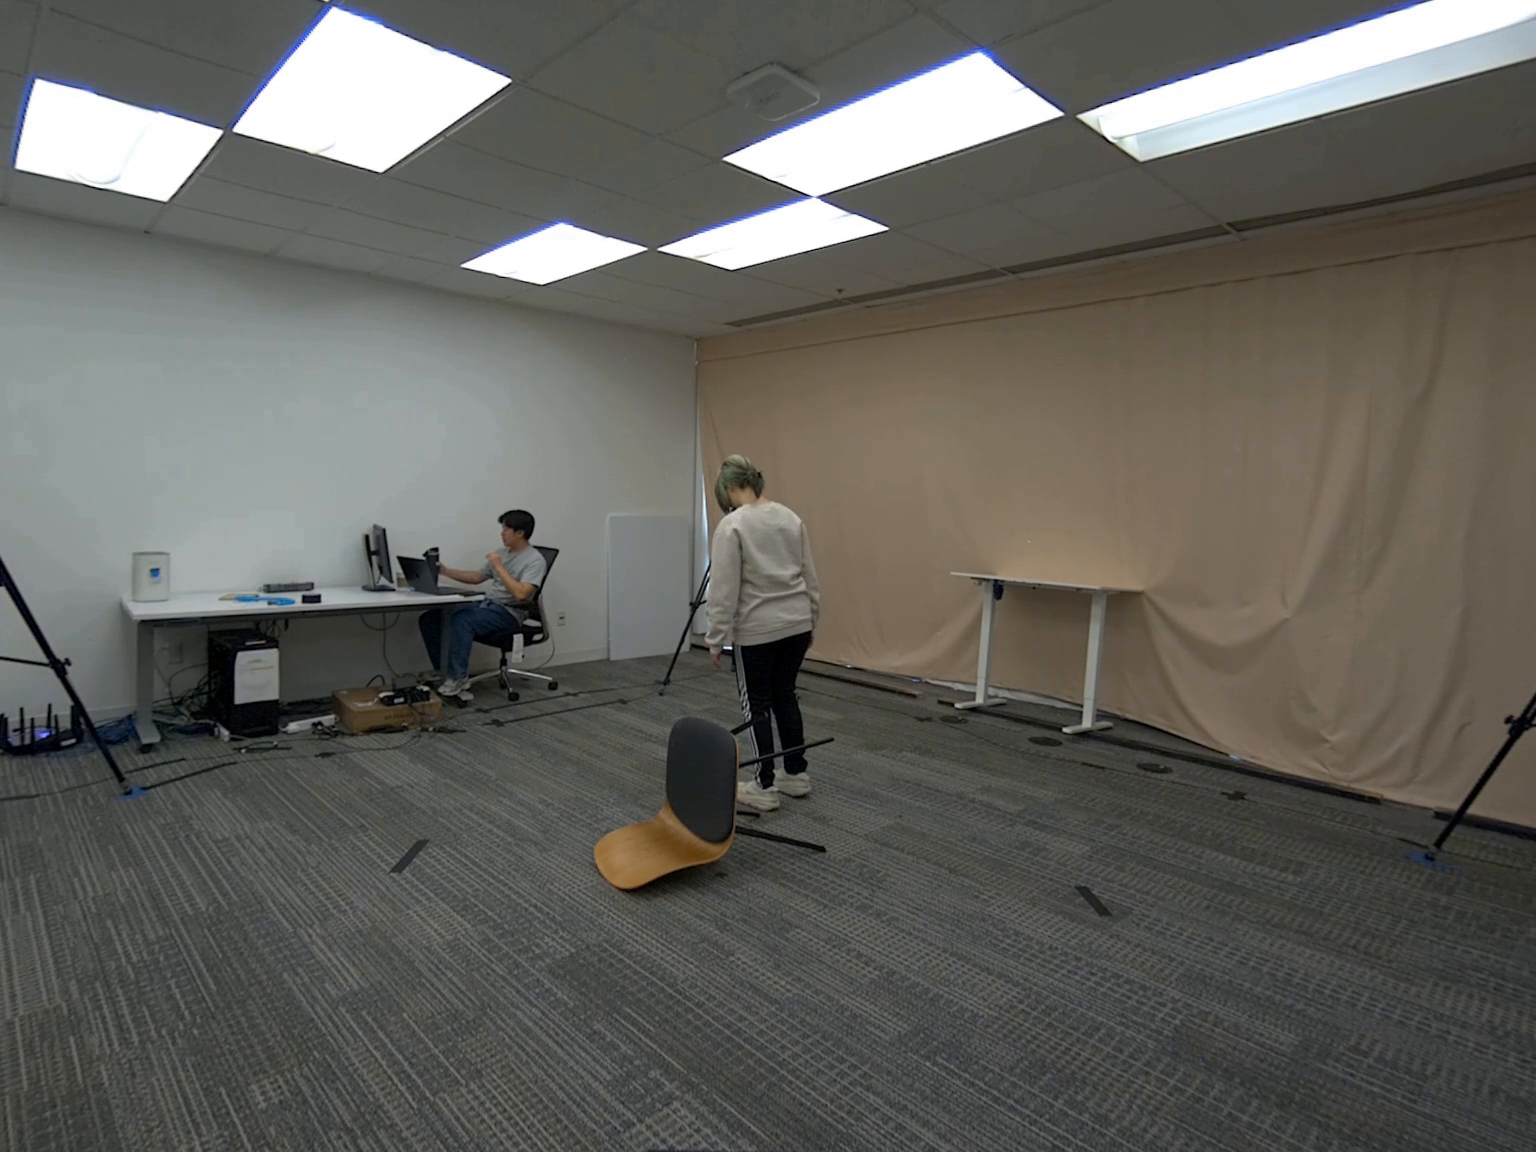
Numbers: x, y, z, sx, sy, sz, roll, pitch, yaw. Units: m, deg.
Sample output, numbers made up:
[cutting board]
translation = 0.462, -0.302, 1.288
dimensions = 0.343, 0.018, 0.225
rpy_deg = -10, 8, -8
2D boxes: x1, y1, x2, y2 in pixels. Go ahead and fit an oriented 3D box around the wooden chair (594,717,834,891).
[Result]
[wooden chair]
translation = -0.234, 0.830, 3.264
dimensions = 0.858, 0.521, 0.490
rpy_deg = -3, 6, -36
